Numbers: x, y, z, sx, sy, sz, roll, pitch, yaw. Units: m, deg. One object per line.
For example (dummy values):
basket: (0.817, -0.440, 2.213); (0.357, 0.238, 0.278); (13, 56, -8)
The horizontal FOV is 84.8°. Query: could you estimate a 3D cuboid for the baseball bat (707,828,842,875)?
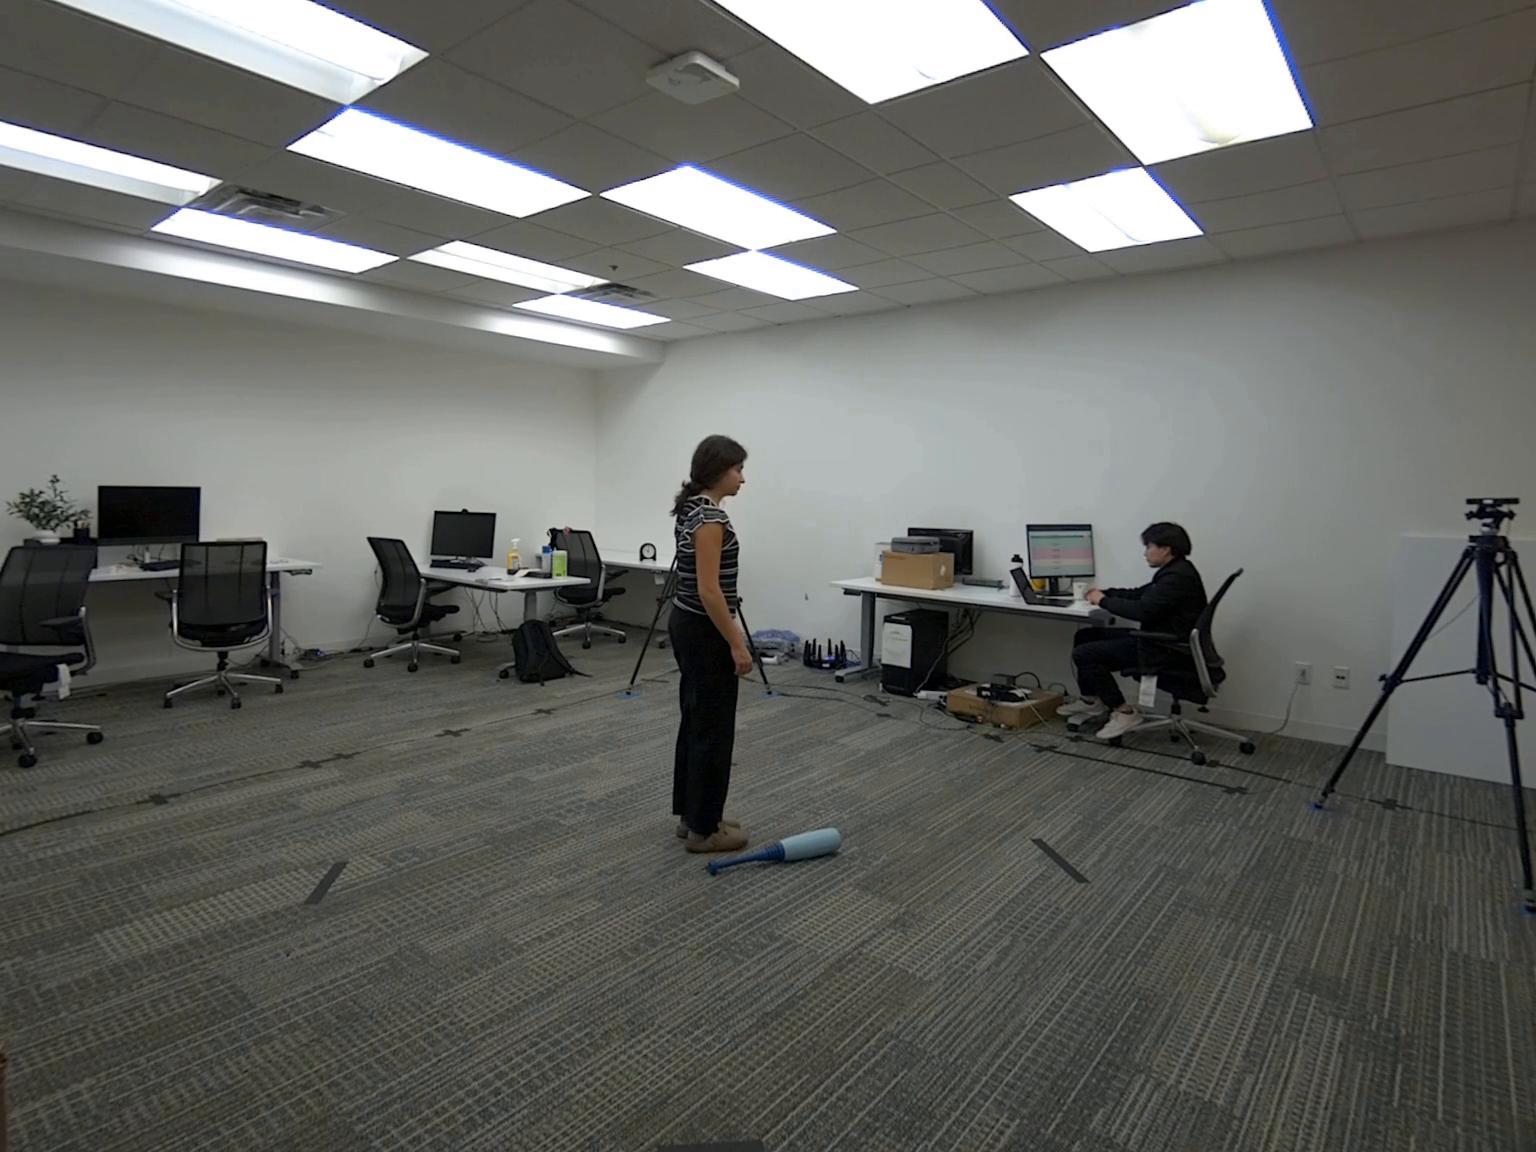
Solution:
baseball bat: (0.023, 1.030, 3.168); (0.530, 0.088, 0.091); (-4, 6, -26)
